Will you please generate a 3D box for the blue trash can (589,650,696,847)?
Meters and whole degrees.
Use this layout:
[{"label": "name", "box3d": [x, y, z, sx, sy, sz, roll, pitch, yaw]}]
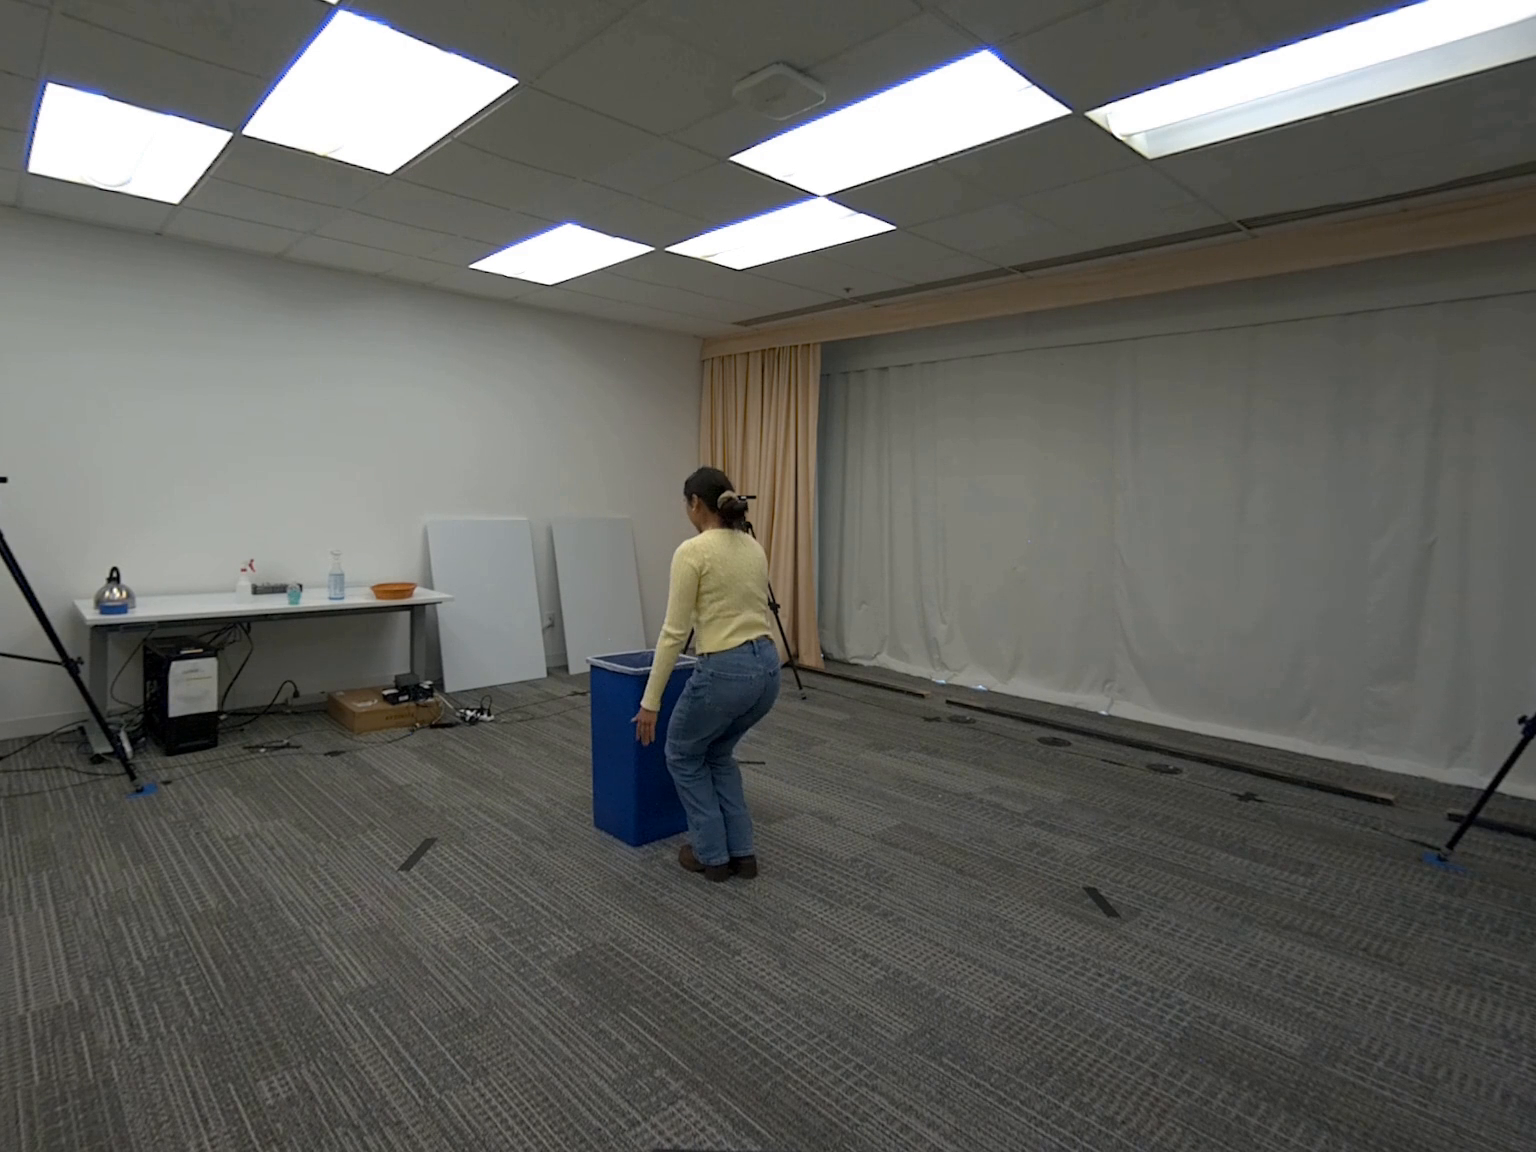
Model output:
[{"label": "blue trash can", "box3d": [-0.533, 0.698, 3.517, 0.369, 0.712, 0.384, -1, 5, -44]}]
